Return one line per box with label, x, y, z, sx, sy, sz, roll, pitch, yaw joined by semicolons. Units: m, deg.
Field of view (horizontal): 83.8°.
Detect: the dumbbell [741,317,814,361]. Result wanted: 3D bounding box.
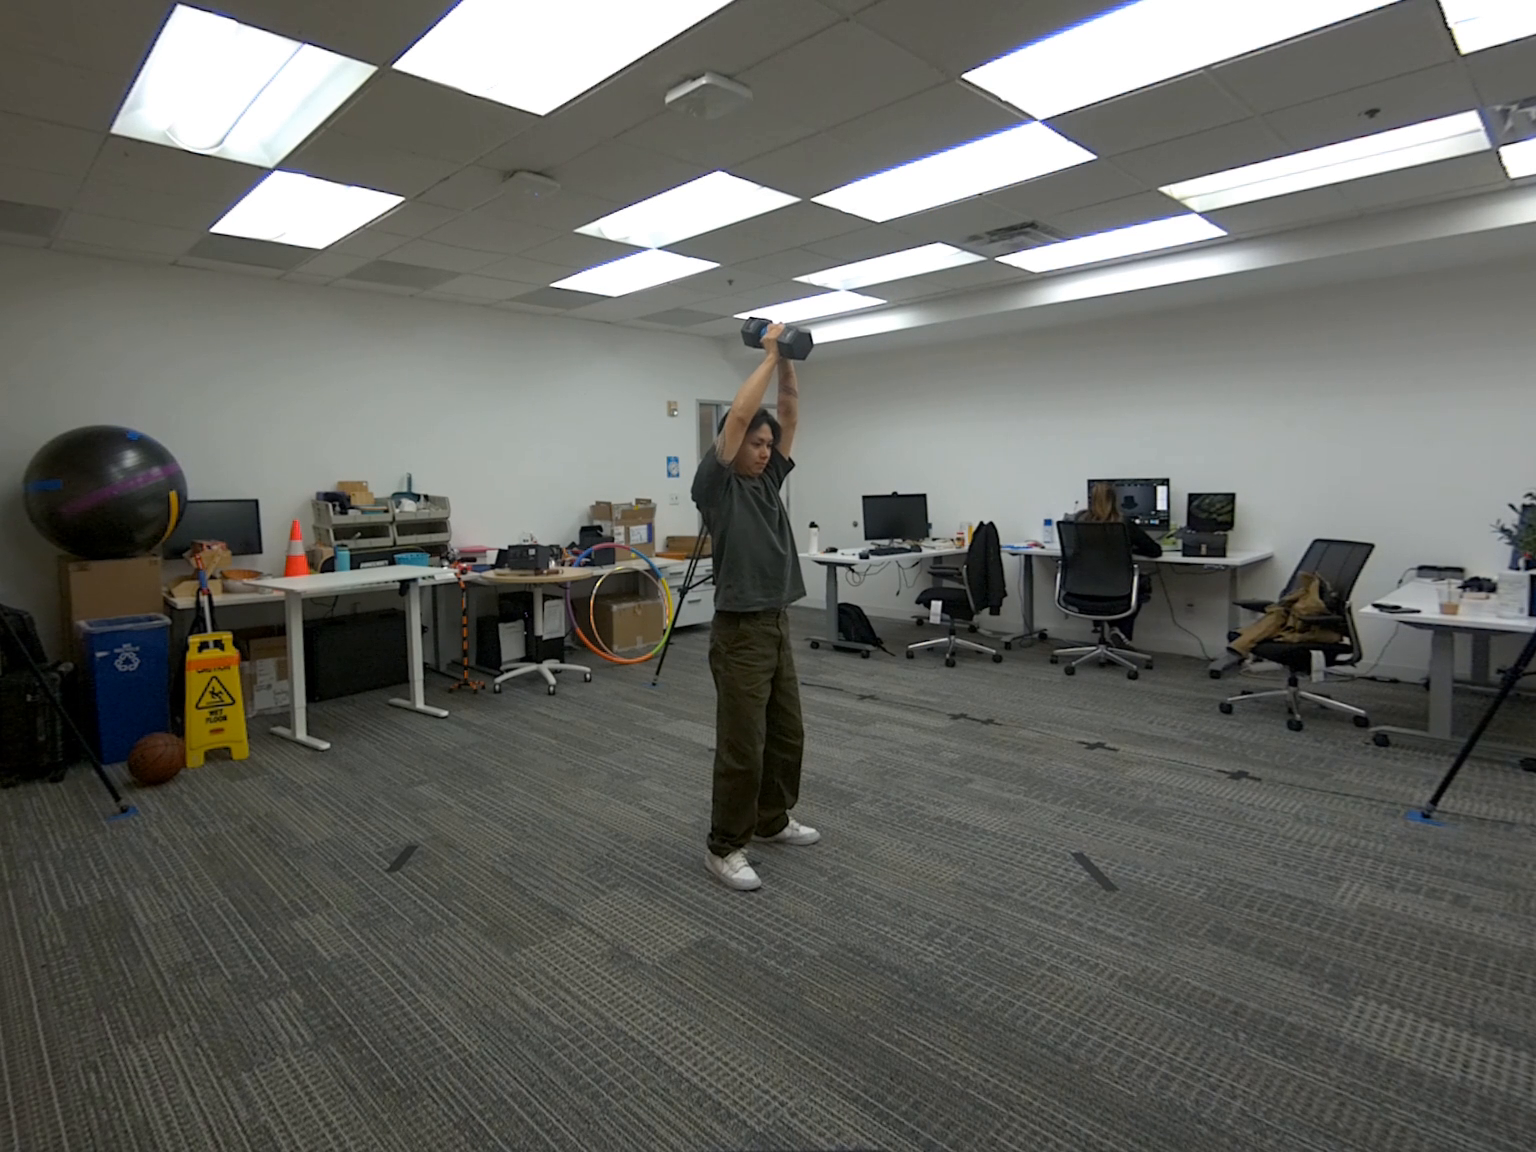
dumbbell;0.032;-0.847;3.020;0.104;0.123;0.305;36;-2;-43
